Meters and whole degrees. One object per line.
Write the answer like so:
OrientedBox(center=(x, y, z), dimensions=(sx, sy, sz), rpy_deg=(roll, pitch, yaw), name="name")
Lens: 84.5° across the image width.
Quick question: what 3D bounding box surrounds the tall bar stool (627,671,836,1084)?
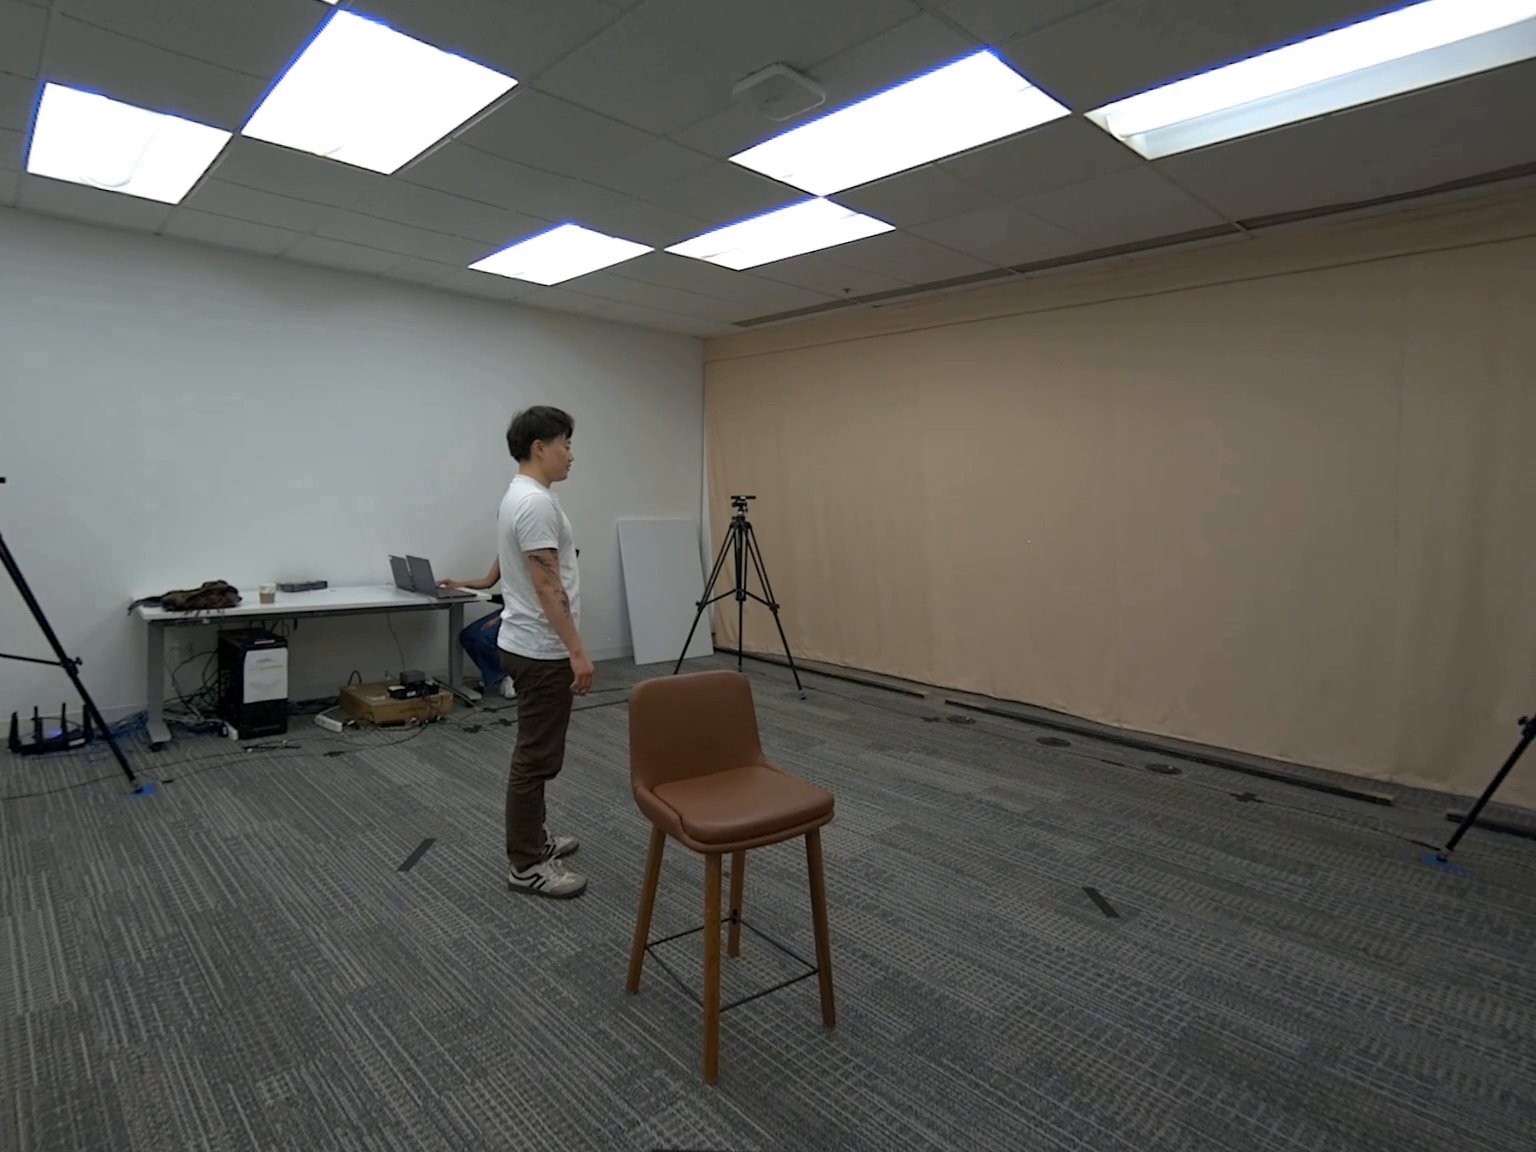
OrientedBox(center=(-0.113, 0.748, 2.264), dimensions=(0.446, 0.888, 0.479), rpy_deg=(-1, 3, -36), name="tall bar stool")
